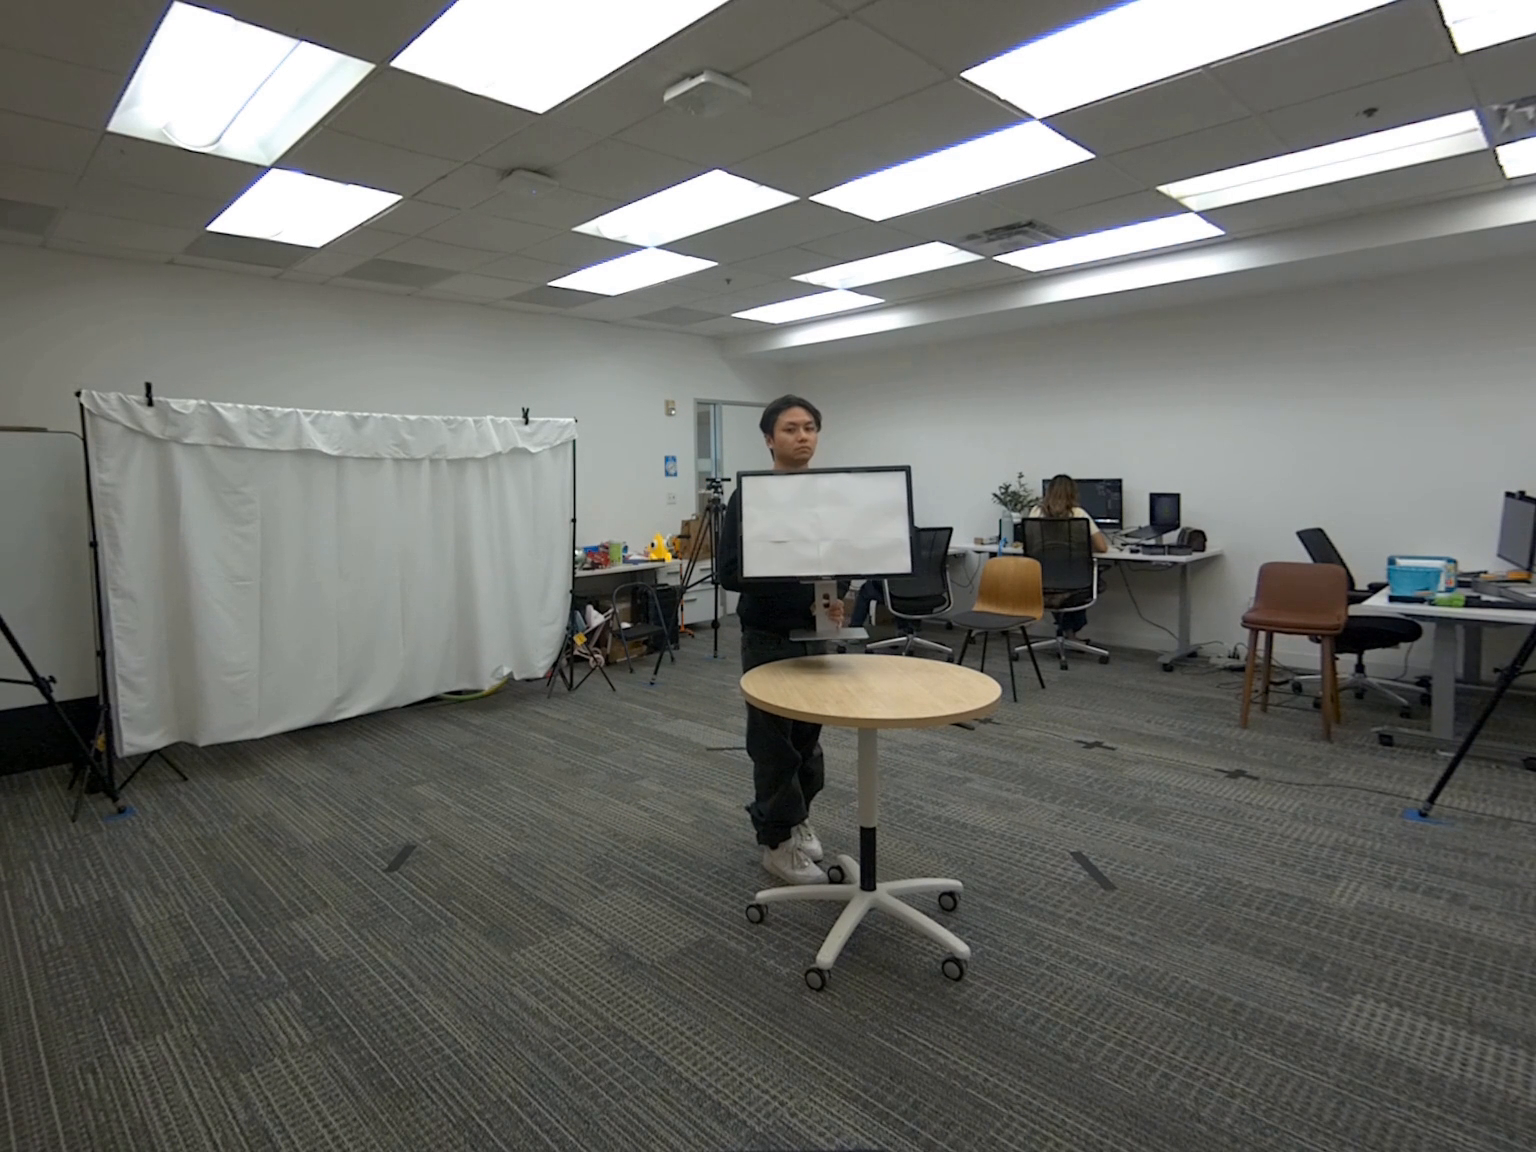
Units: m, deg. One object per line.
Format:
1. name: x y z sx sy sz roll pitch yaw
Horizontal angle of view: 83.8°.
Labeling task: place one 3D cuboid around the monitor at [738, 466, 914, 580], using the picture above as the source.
1. monitor: 0.178 -0.068 2.746 0.532 0.513 0.175 0 6 4
